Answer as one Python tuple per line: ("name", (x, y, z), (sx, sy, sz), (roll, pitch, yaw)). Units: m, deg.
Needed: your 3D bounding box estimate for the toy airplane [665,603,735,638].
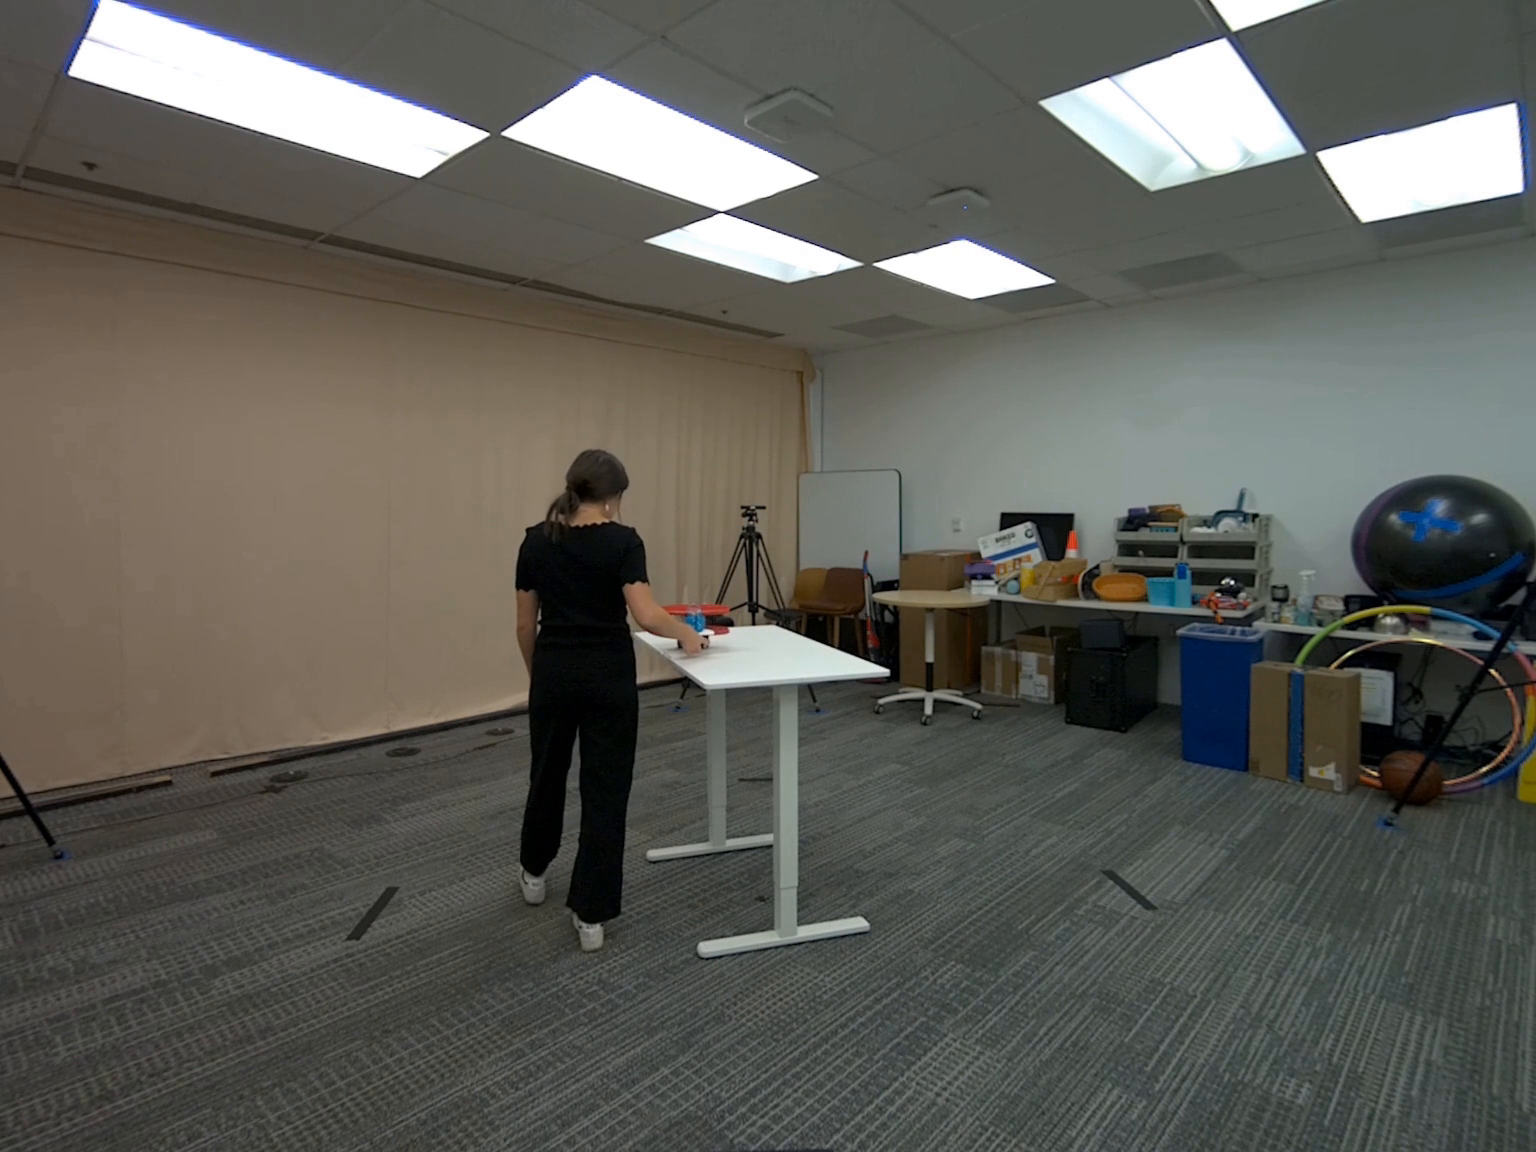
("toy airplane", (-0.234, 0.174, 2.959), (0.244, 0.157, 0.266), (2, -4, -33))
